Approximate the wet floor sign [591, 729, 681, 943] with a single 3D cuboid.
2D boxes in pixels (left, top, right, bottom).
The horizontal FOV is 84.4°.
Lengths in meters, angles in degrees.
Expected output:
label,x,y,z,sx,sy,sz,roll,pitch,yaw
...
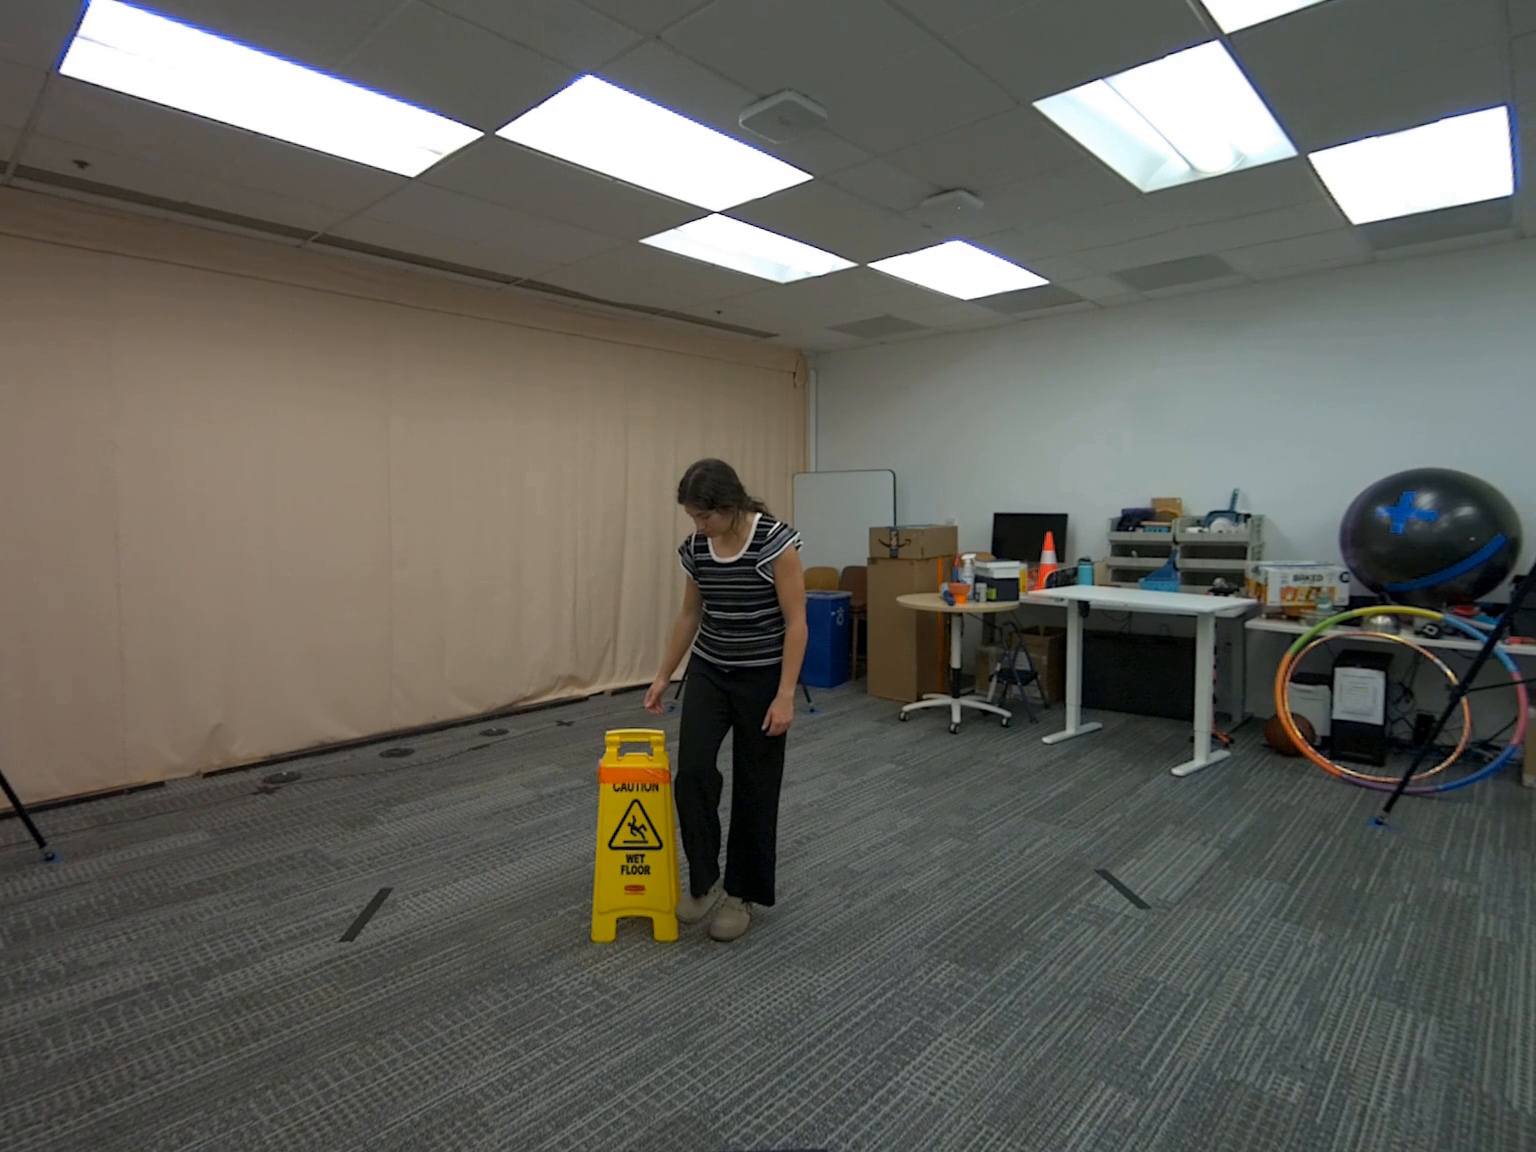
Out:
label,x,y,z,sx,sy,sz,roll,pitch,yaw
wet floor sign,-0.437,0.840,2.809,0.282,0.645,0.290,0,1,0
